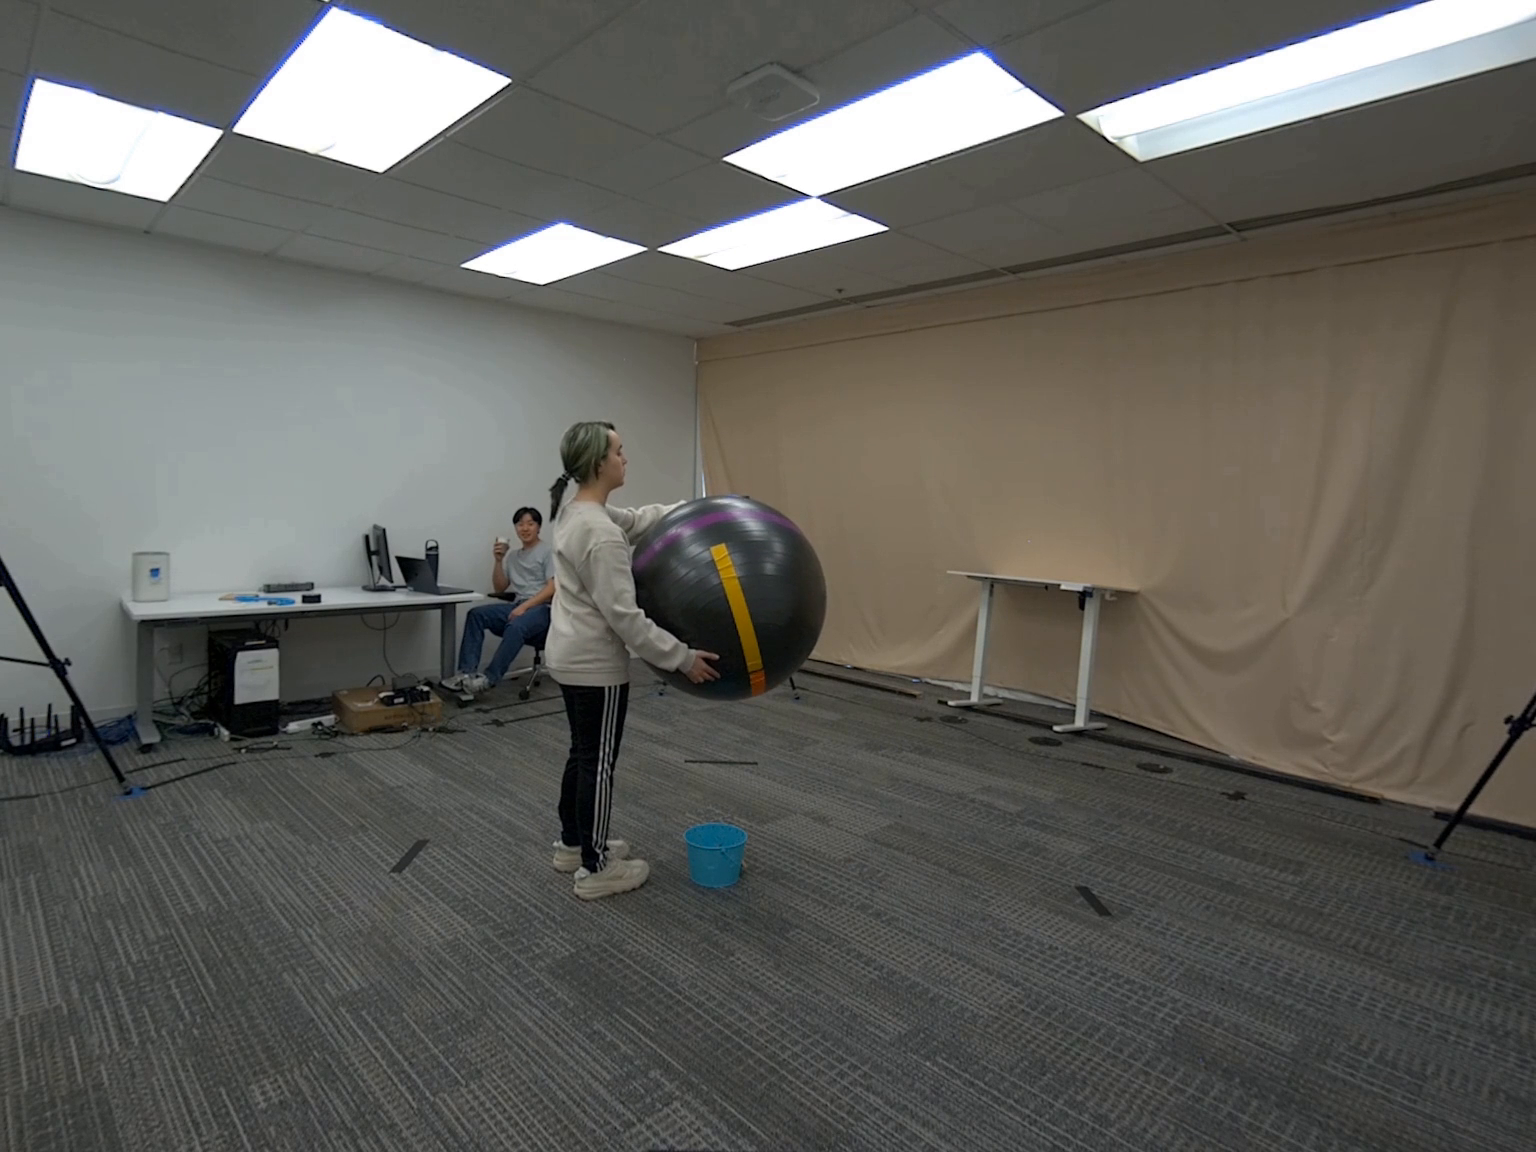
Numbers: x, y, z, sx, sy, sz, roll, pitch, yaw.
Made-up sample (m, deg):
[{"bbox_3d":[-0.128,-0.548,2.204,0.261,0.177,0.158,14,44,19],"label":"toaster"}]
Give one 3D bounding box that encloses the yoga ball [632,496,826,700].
[{"bbox_3d":[-0.161,0.091,3.127,0.757,0.756,0.761,1,4,-1],"label":"yoga ball"}]
